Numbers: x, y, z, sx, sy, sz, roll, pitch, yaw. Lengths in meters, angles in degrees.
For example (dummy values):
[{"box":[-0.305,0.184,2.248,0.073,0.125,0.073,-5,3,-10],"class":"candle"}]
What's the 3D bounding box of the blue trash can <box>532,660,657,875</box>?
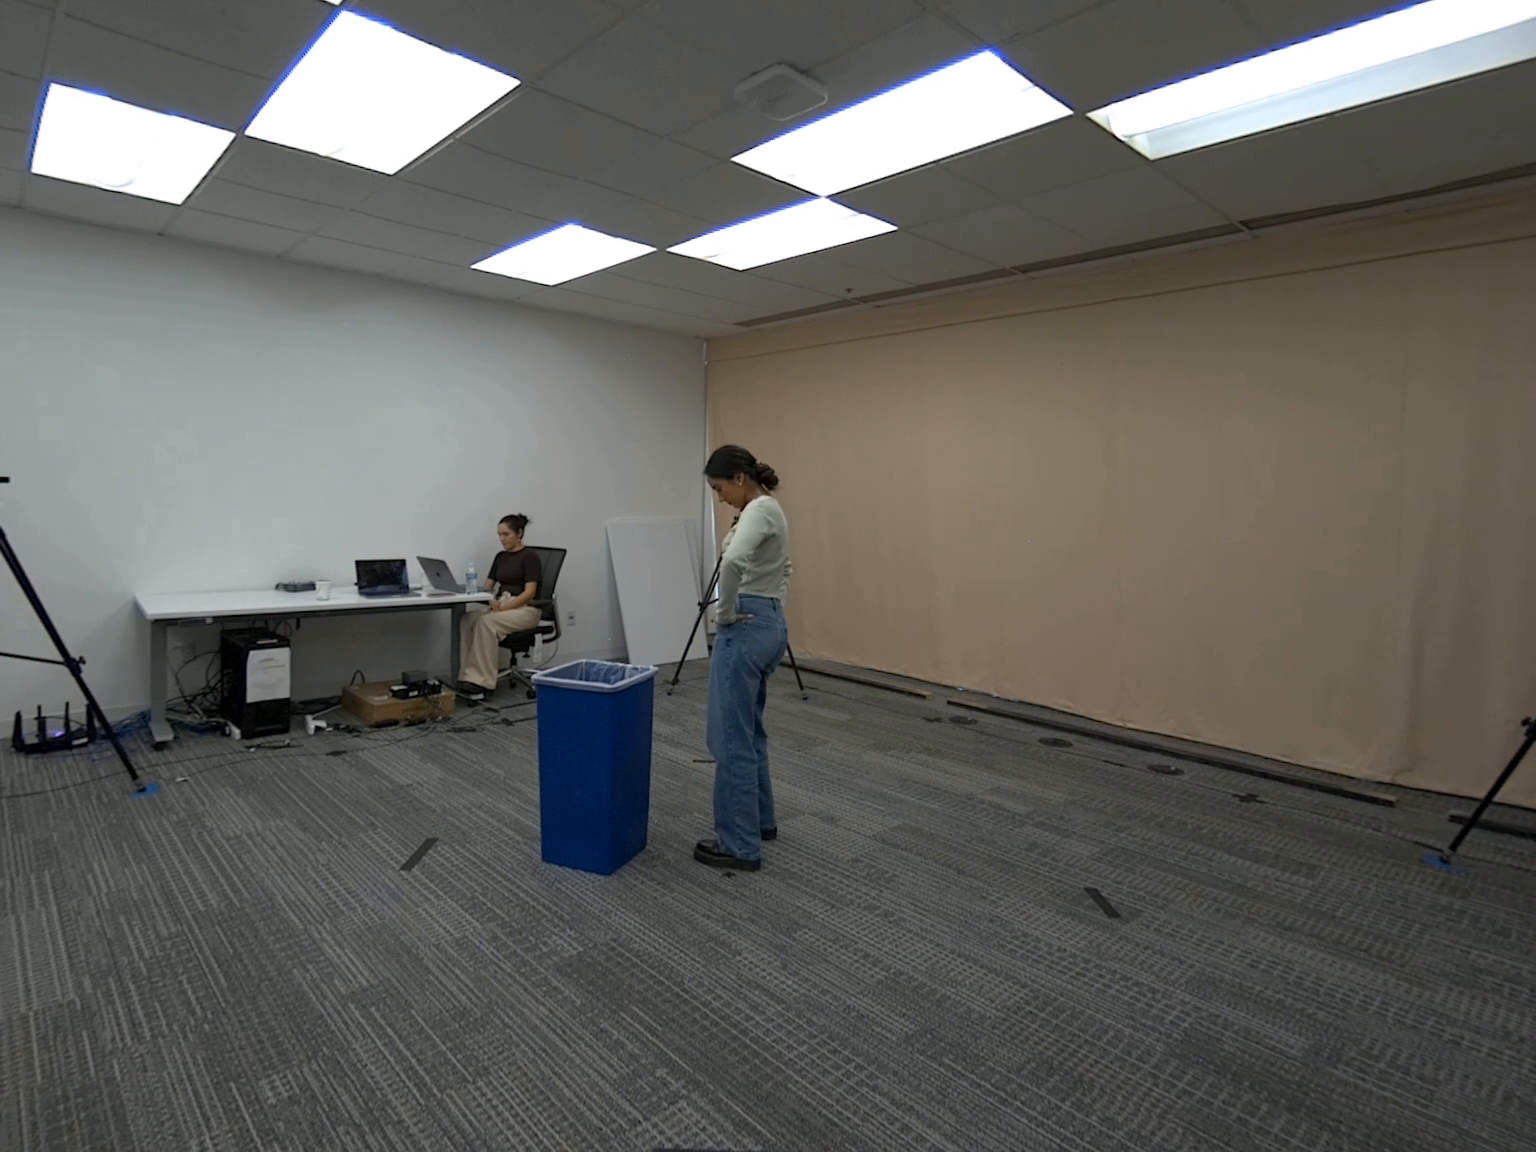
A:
[{"box":[-0.675,0.720,3.234,0.381,0.712,0.372,3,4,22],"class":"blue trash can"}]
